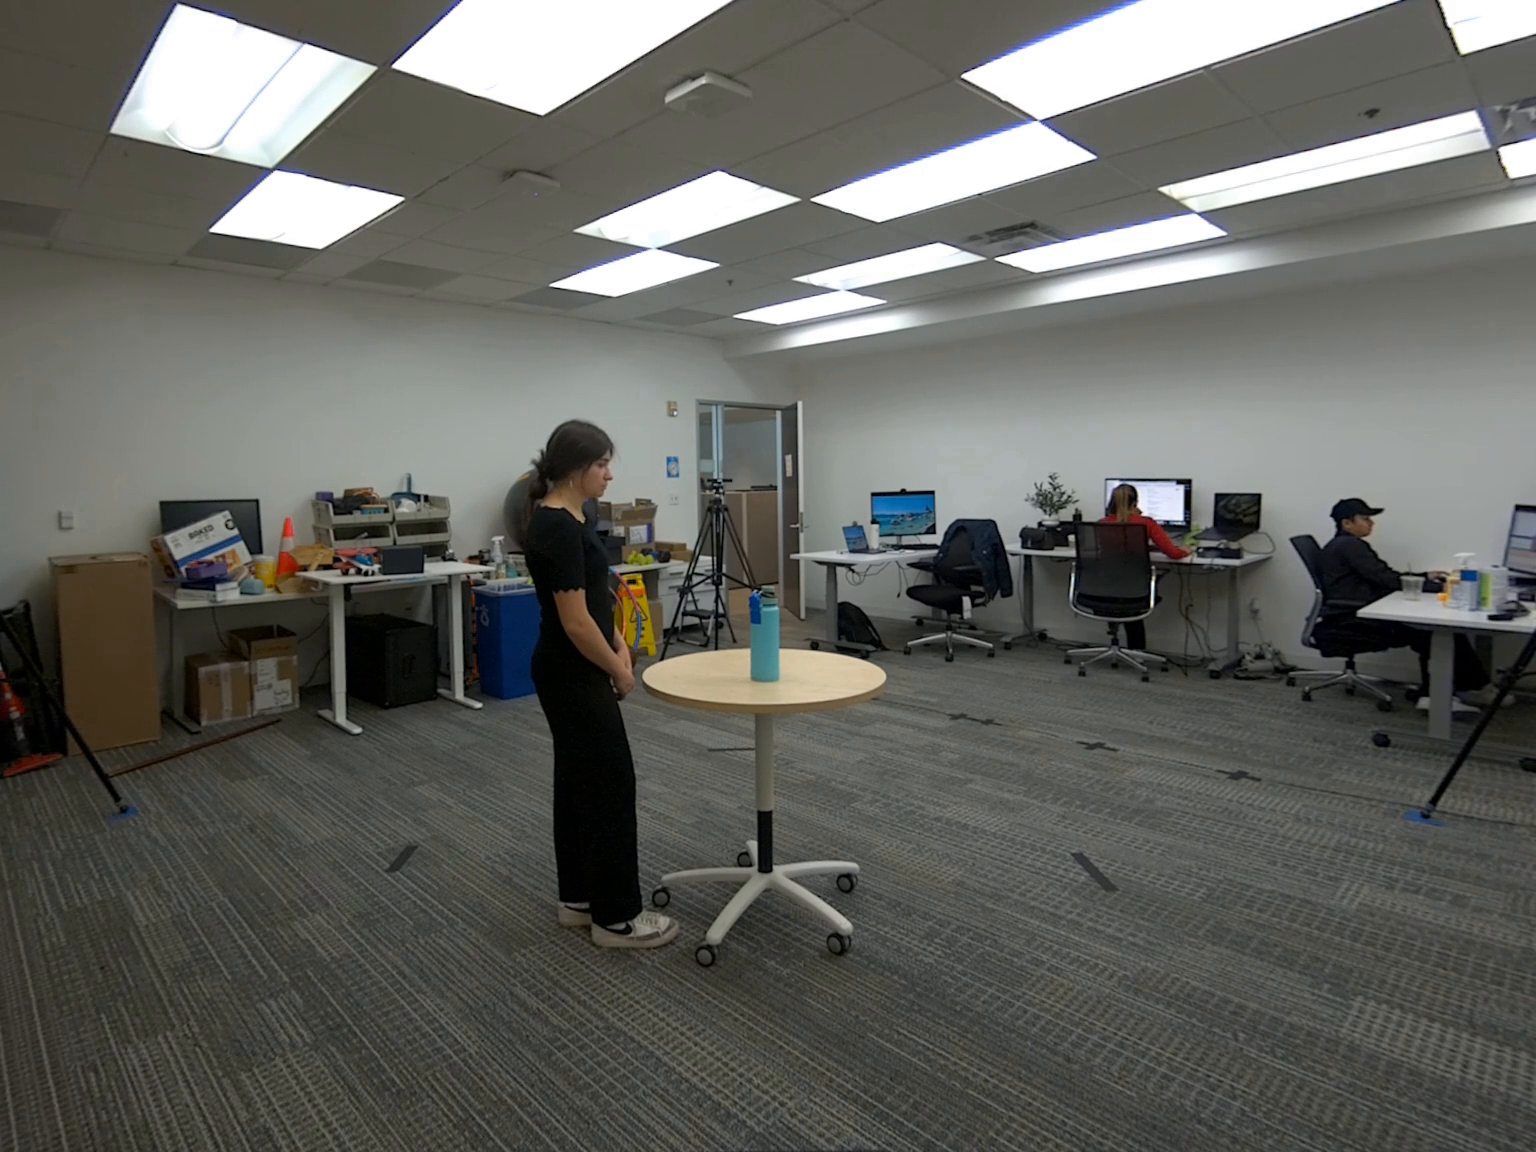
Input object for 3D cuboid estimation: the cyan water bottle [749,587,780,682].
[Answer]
[{"bbox_3d":[-0.015,0.175,2.611,0.092,0.282,0.093,-3,4,-1],"label":"cyan water bottle"}]
